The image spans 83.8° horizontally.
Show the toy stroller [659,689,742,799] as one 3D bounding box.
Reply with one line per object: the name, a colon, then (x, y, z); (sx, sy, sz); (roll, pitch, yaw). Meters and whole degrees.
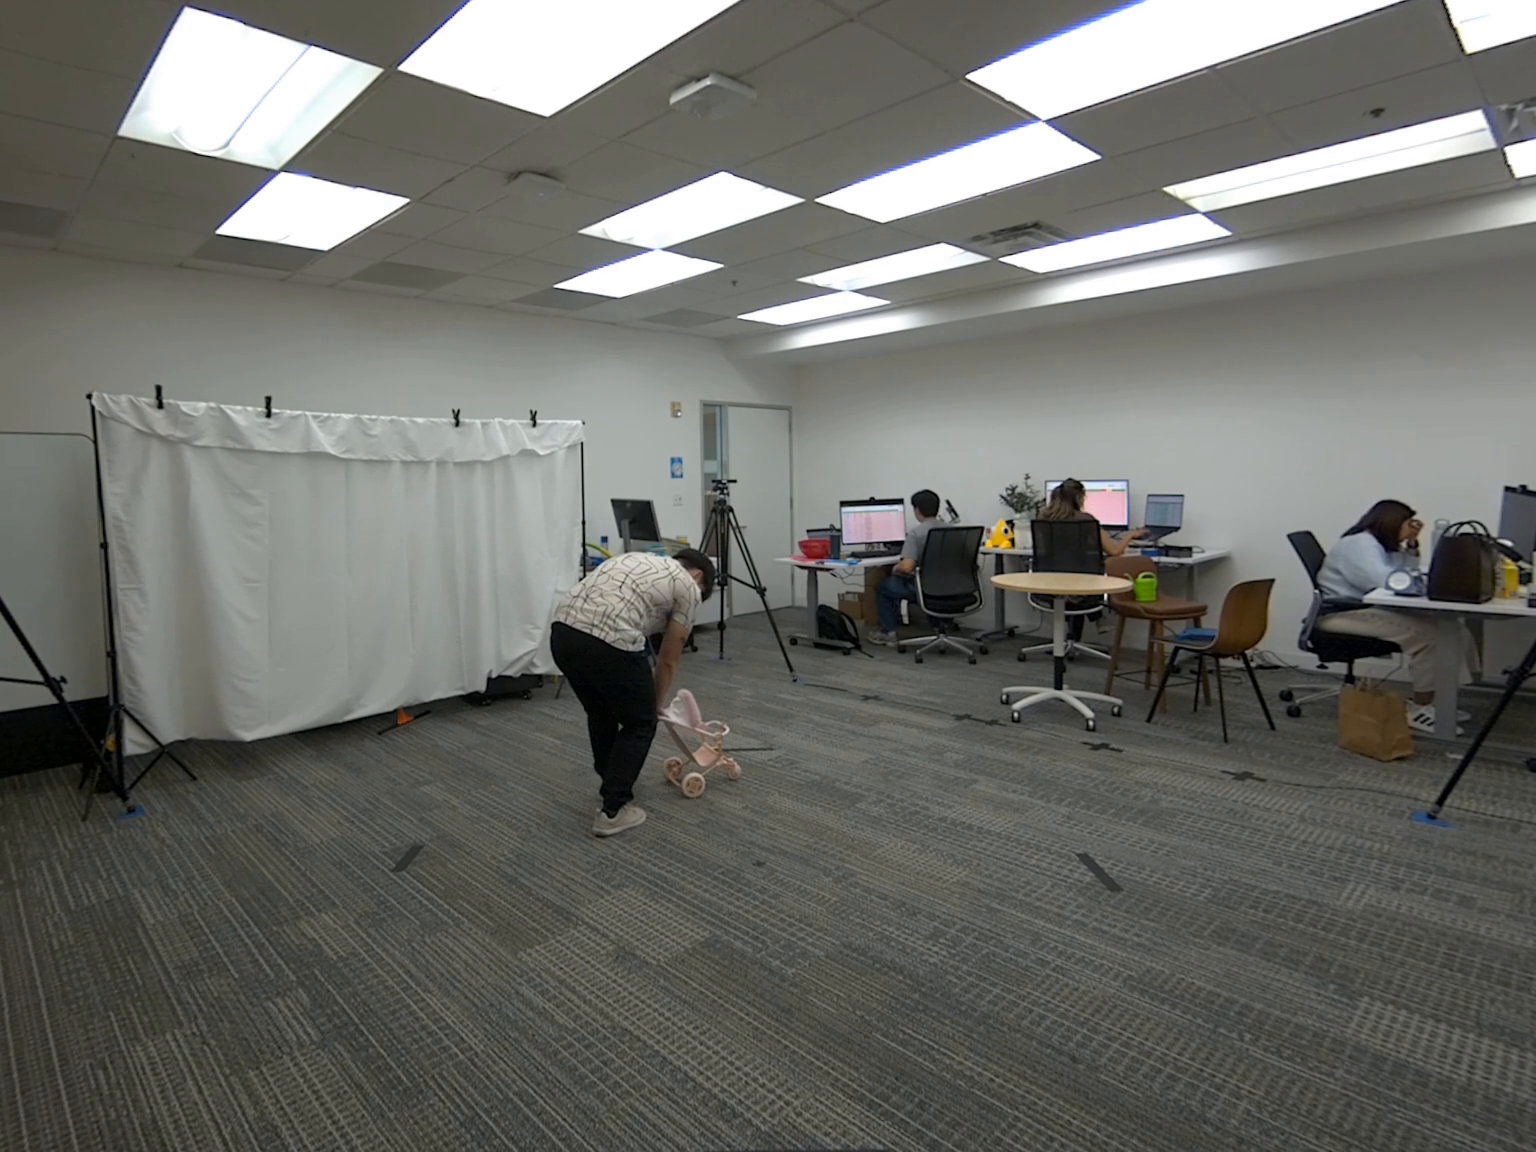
toy stroller: (-0.343, 0.746, 3.900); (0.338, 0.528, 0.288); (-23, 11, -19)
